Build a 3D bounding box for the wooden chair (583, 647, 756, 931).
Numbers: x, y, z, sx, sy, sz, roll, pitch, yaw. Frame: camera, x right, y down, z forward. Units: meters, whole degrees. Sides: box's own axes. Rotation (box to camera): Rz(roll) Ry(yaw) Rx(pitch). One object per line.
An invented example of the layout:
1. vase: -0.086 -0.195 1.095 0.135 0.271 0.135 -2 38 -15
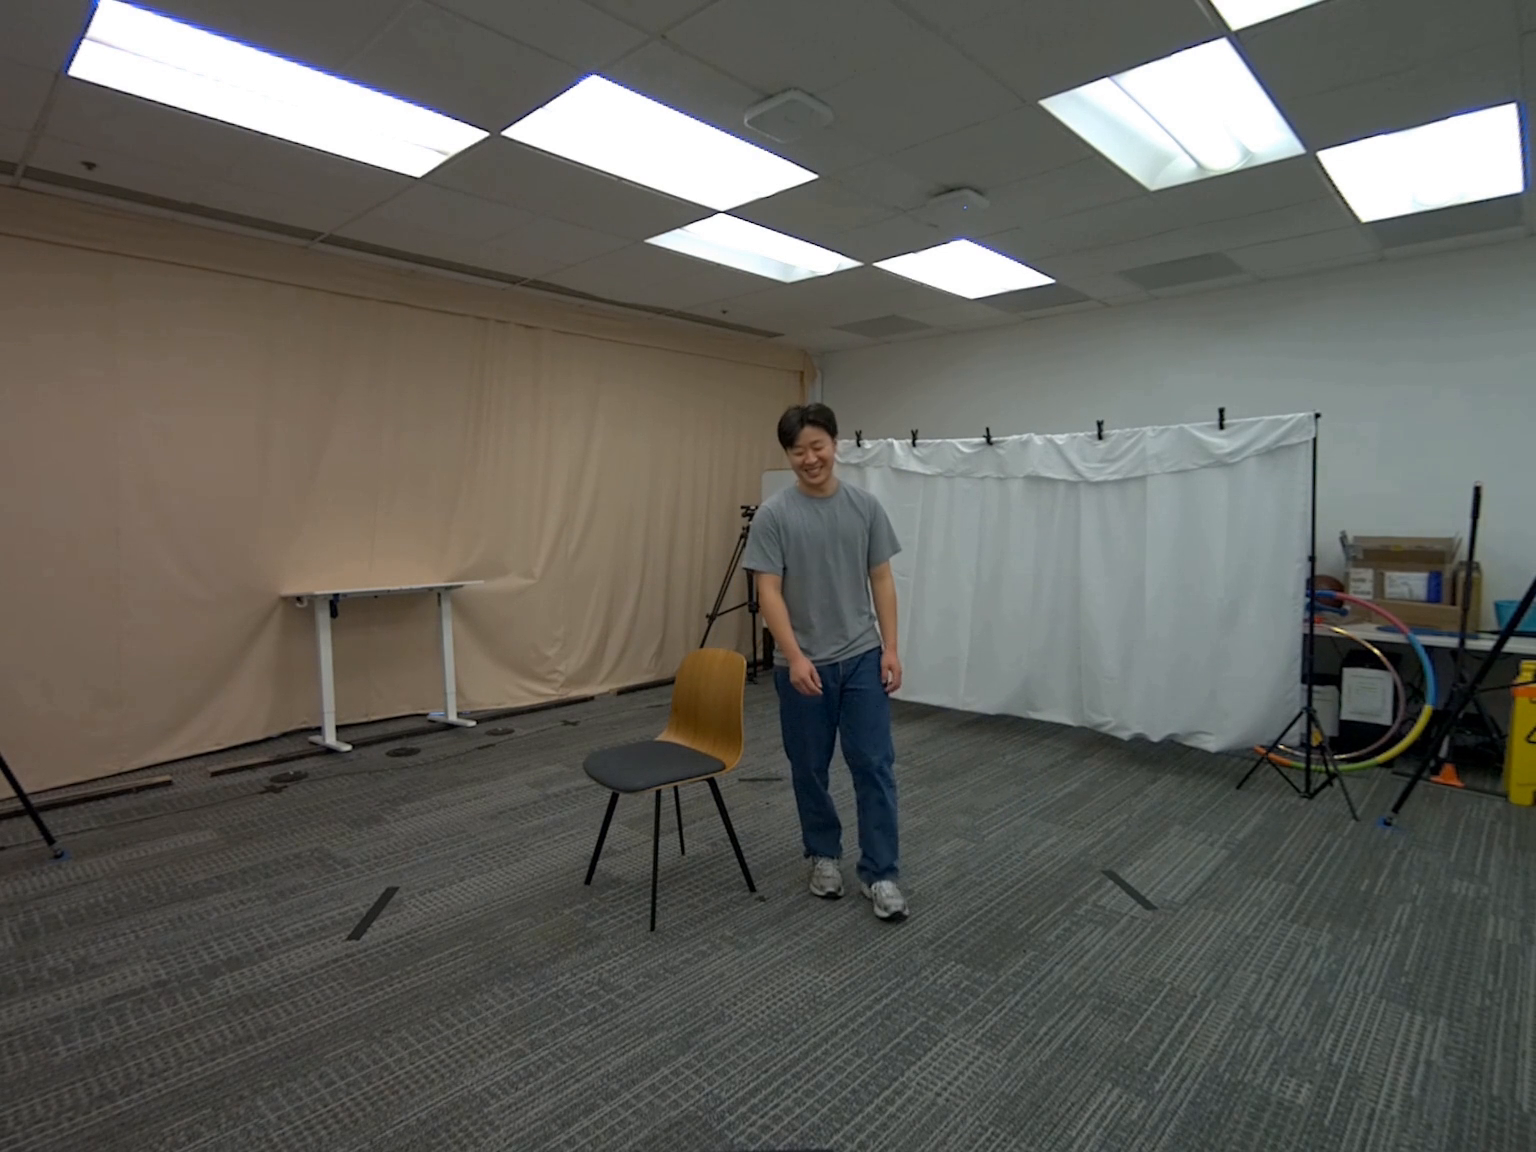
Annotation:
1. wooden chair: -0.368 0.715 3.037 0.506 0.877 0.494 3 0 -41
